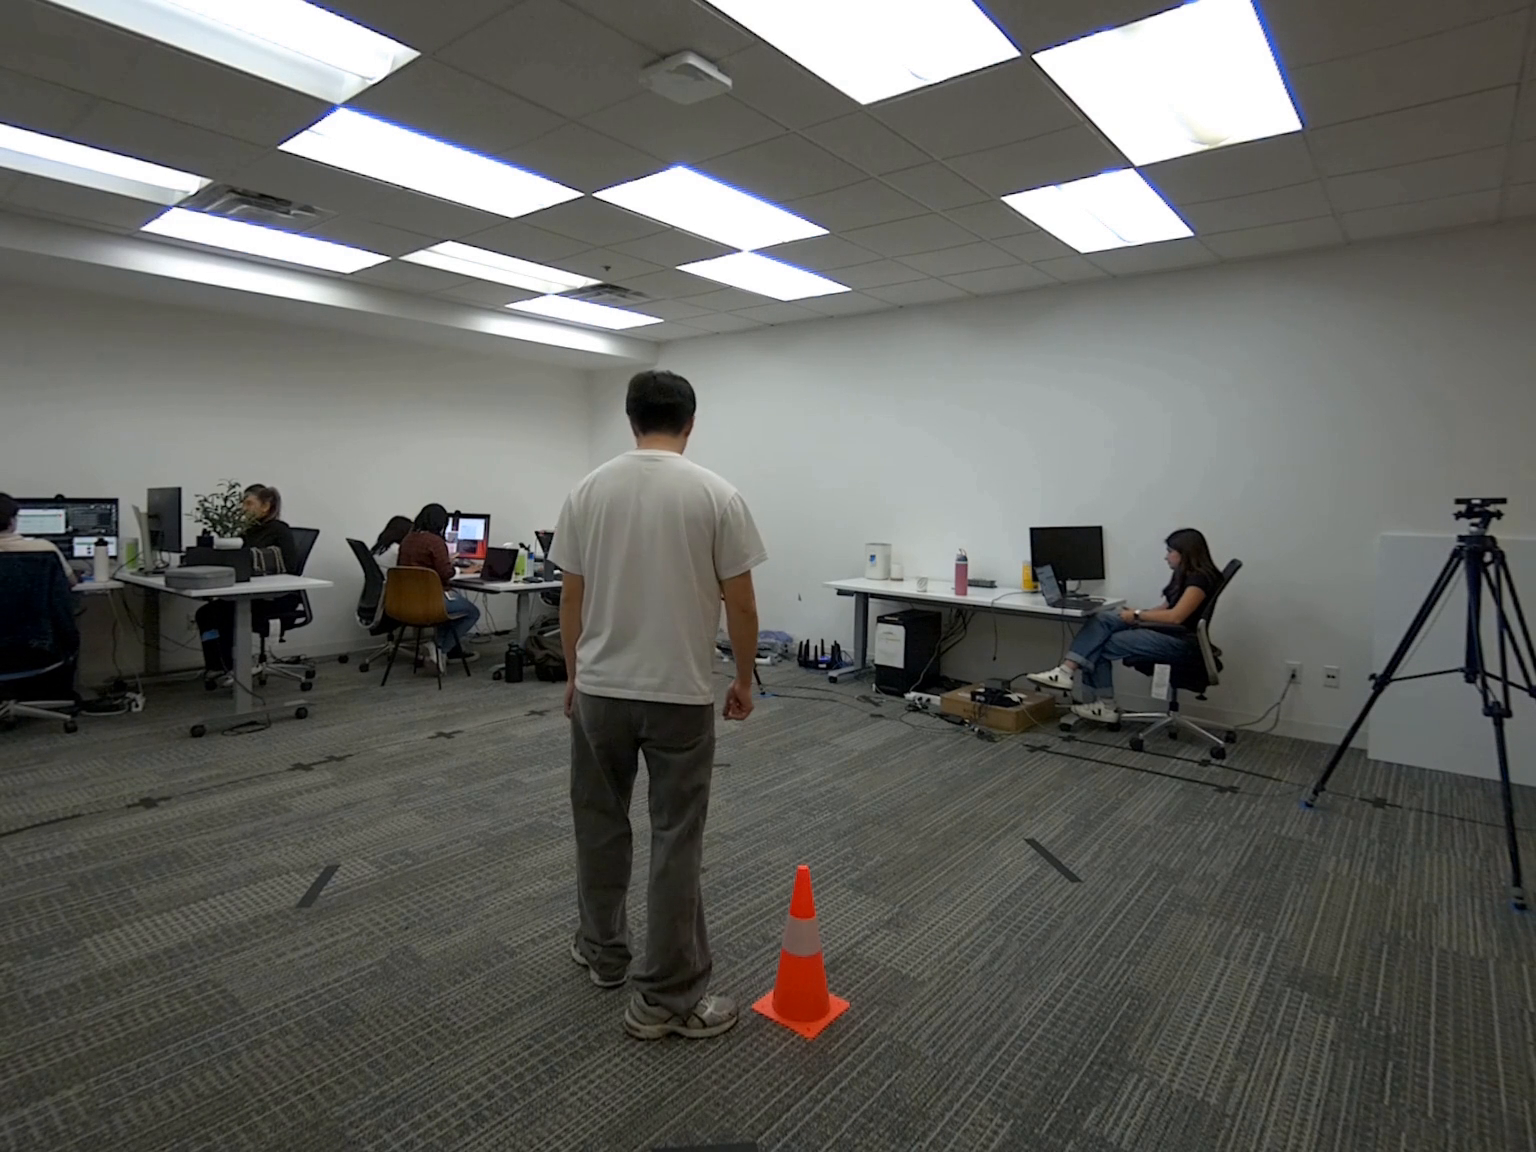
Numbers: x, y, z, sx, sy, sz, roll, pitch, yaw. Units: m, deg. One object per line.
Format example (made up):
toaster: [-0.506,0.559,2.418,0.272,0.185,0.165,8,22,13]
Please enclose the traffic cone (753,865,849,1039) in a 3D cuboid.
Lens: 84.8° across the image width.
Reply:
traffic cone: [0.091,0.975,2.274,0.197,0.382,0.212,-5,8,-44]
